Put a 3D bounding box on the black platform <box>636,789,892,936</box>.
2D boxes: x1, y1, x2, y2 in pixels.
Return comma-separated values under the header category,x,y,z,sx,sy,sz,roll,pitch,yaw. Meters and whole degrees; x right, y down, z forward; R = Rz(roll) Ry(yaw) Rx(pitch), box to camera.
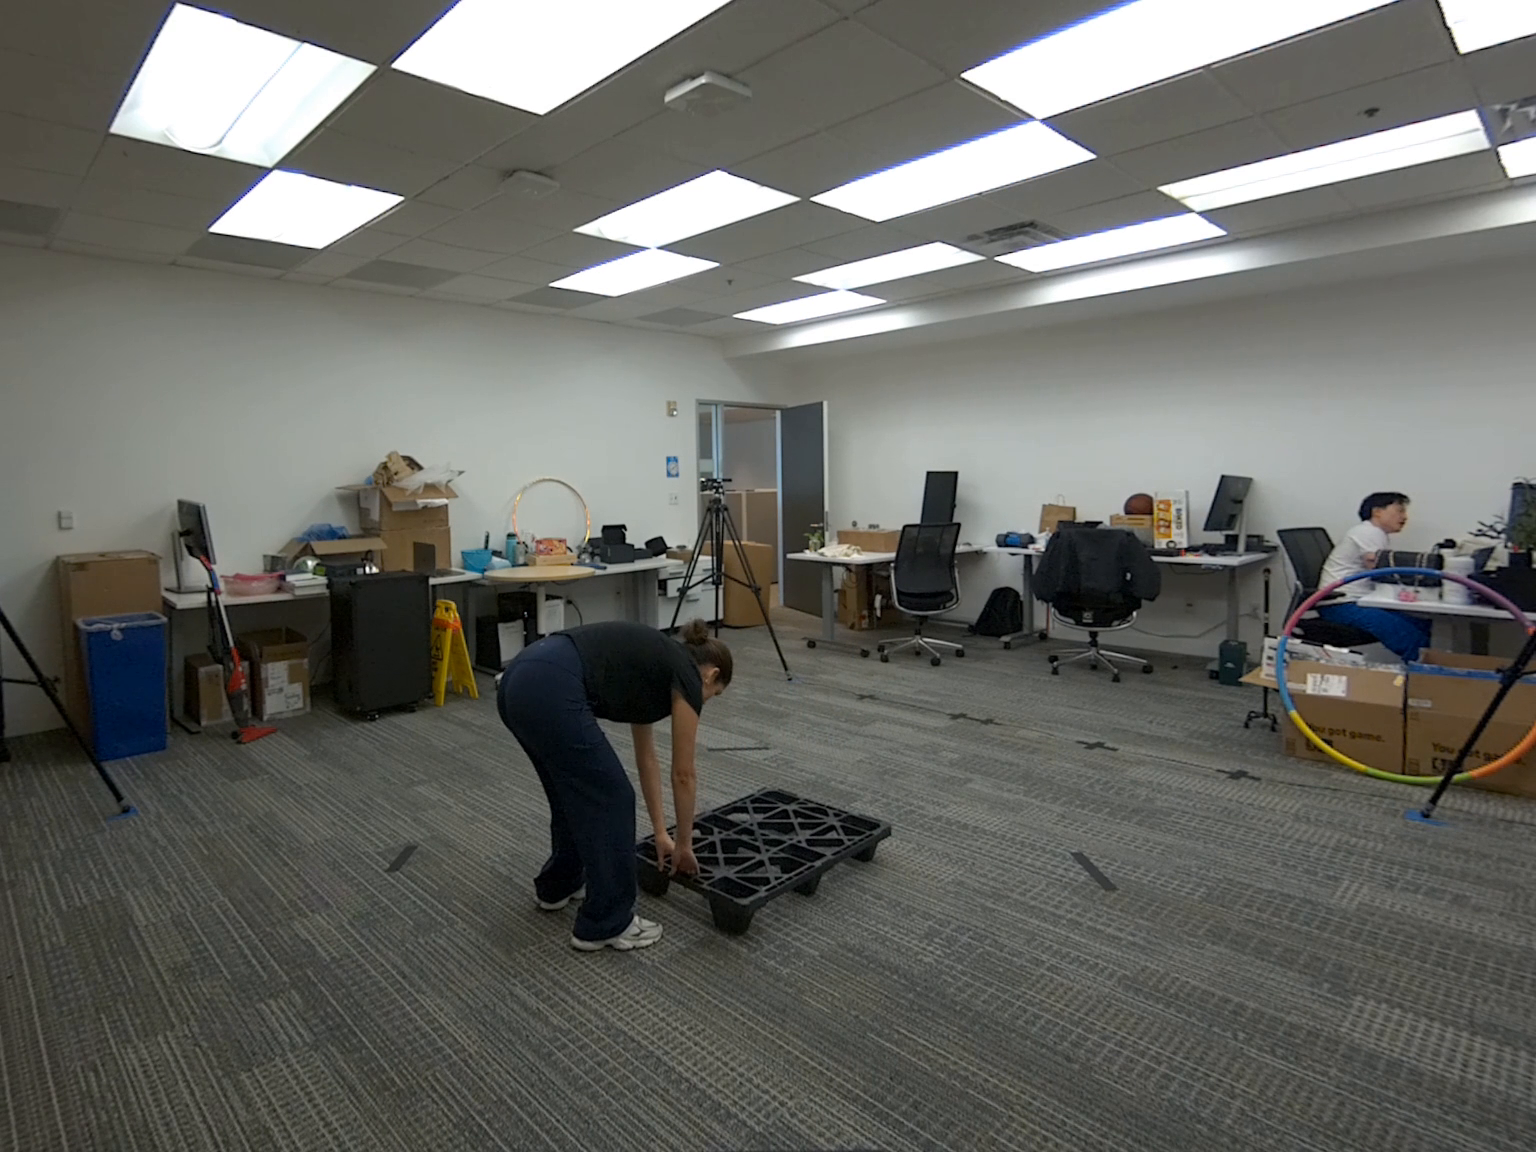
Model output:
category,x,y,z,sx,sy,sz,roll,pitch,yaw
black platform,-0.031,0.980,3.039,0.623,0.143,0.784,4,7,42
